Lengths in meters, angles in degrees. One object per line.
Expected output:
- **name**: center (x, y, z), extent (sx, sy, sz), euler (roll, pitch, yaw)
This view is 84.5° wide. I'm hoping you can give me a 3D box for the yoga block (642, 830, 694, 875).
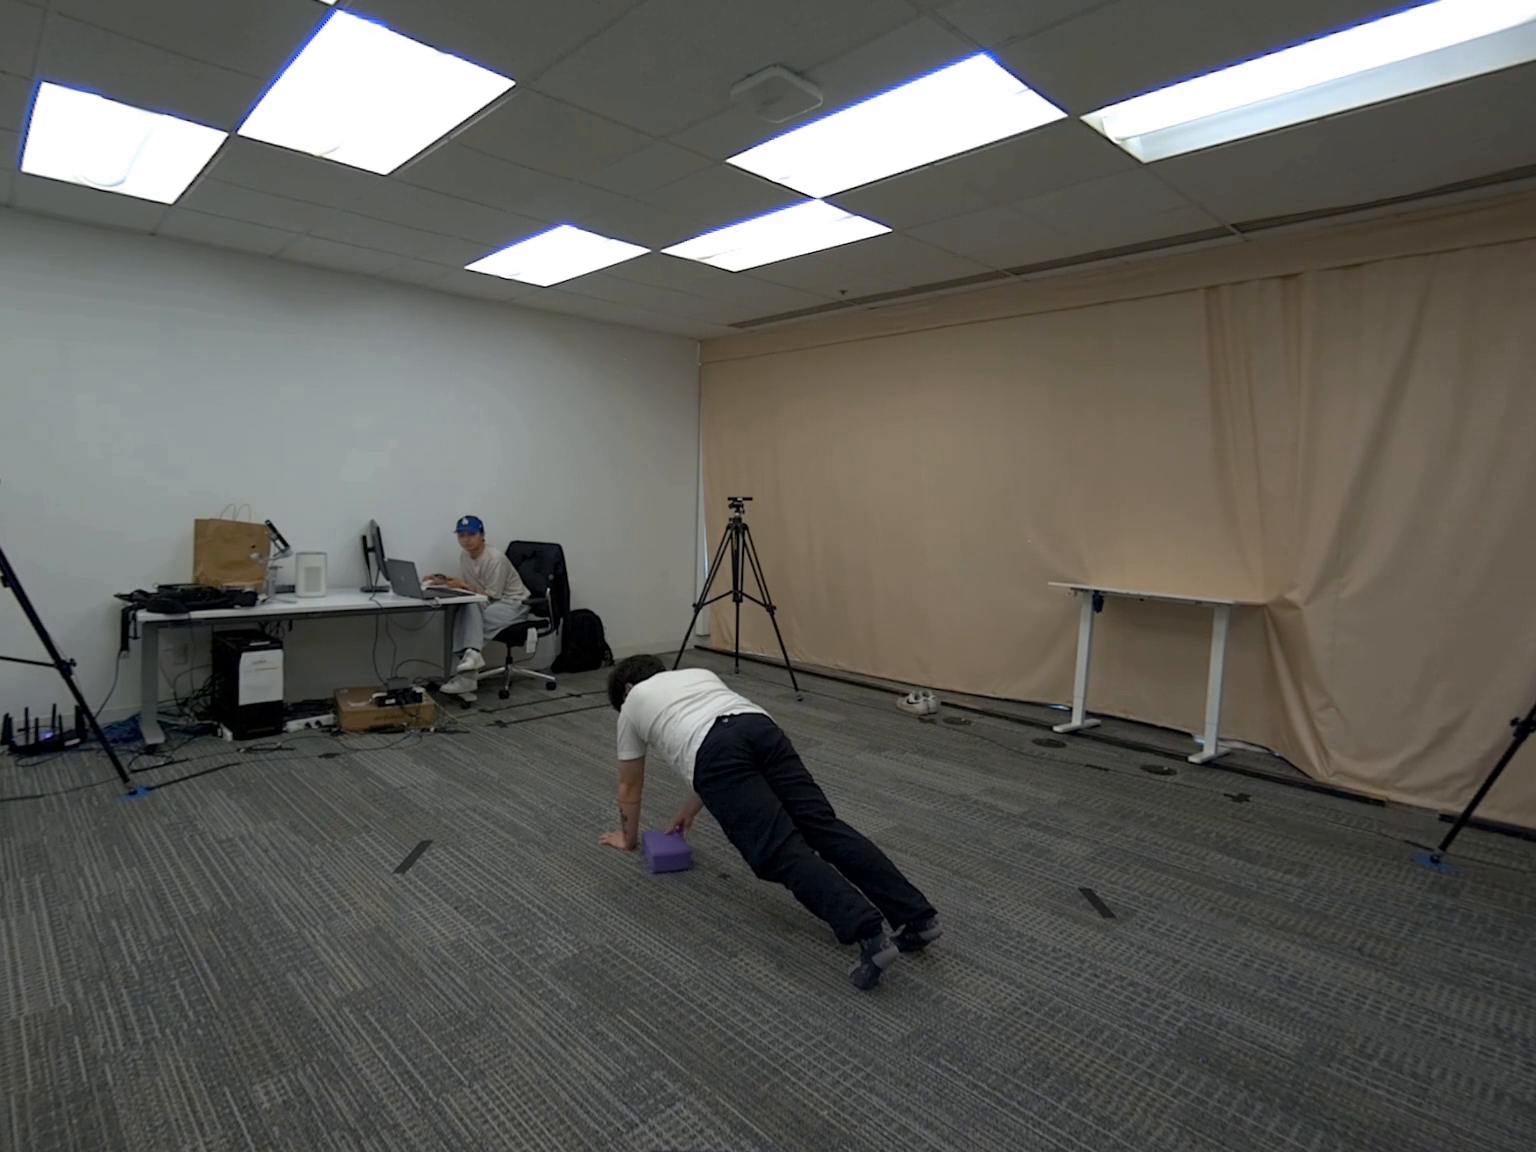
- **yoga block**: center (-0.398, 1.052, 3.230), extent (0.147, 0.076, 0.233), euler (-2, 5, -17)
